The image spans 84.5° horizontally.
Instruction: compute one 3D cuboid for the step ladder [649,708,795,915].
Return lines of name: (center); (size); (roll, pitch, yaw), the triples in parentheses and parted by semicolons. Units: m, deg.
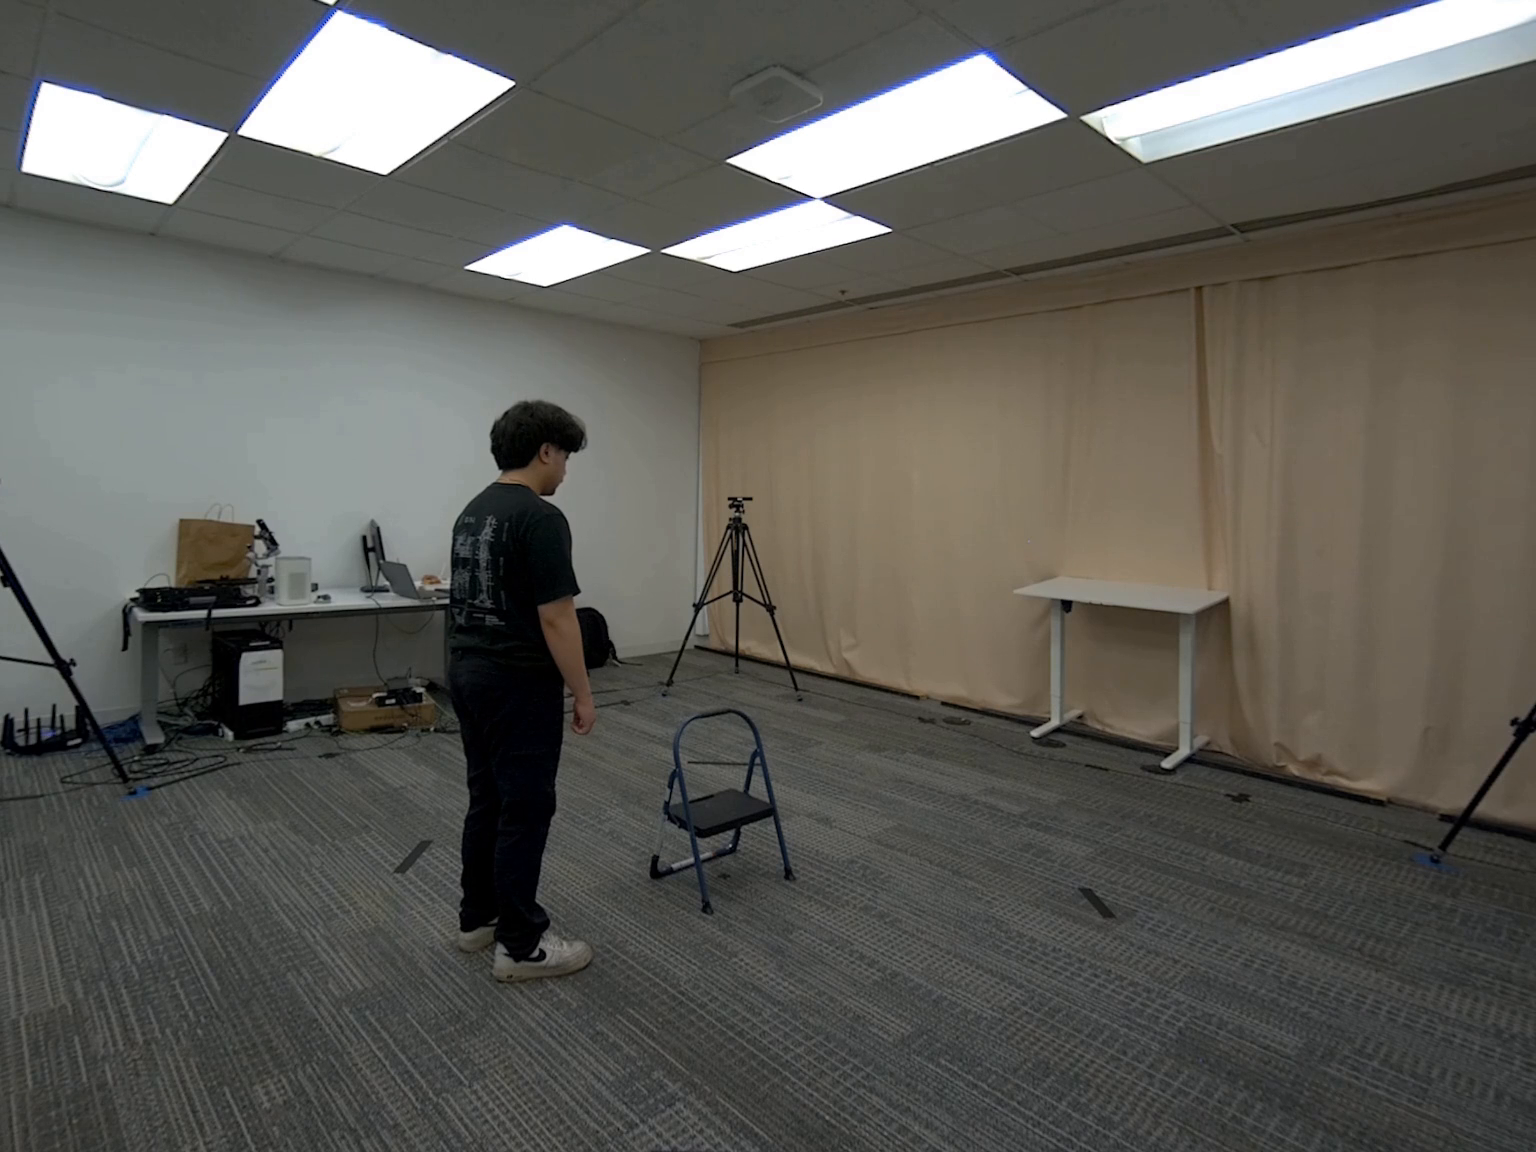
step ladder: (-0.166, 0.806, 3.064); (0.421, 0.604, 0.358); (-2, 5, -44)
